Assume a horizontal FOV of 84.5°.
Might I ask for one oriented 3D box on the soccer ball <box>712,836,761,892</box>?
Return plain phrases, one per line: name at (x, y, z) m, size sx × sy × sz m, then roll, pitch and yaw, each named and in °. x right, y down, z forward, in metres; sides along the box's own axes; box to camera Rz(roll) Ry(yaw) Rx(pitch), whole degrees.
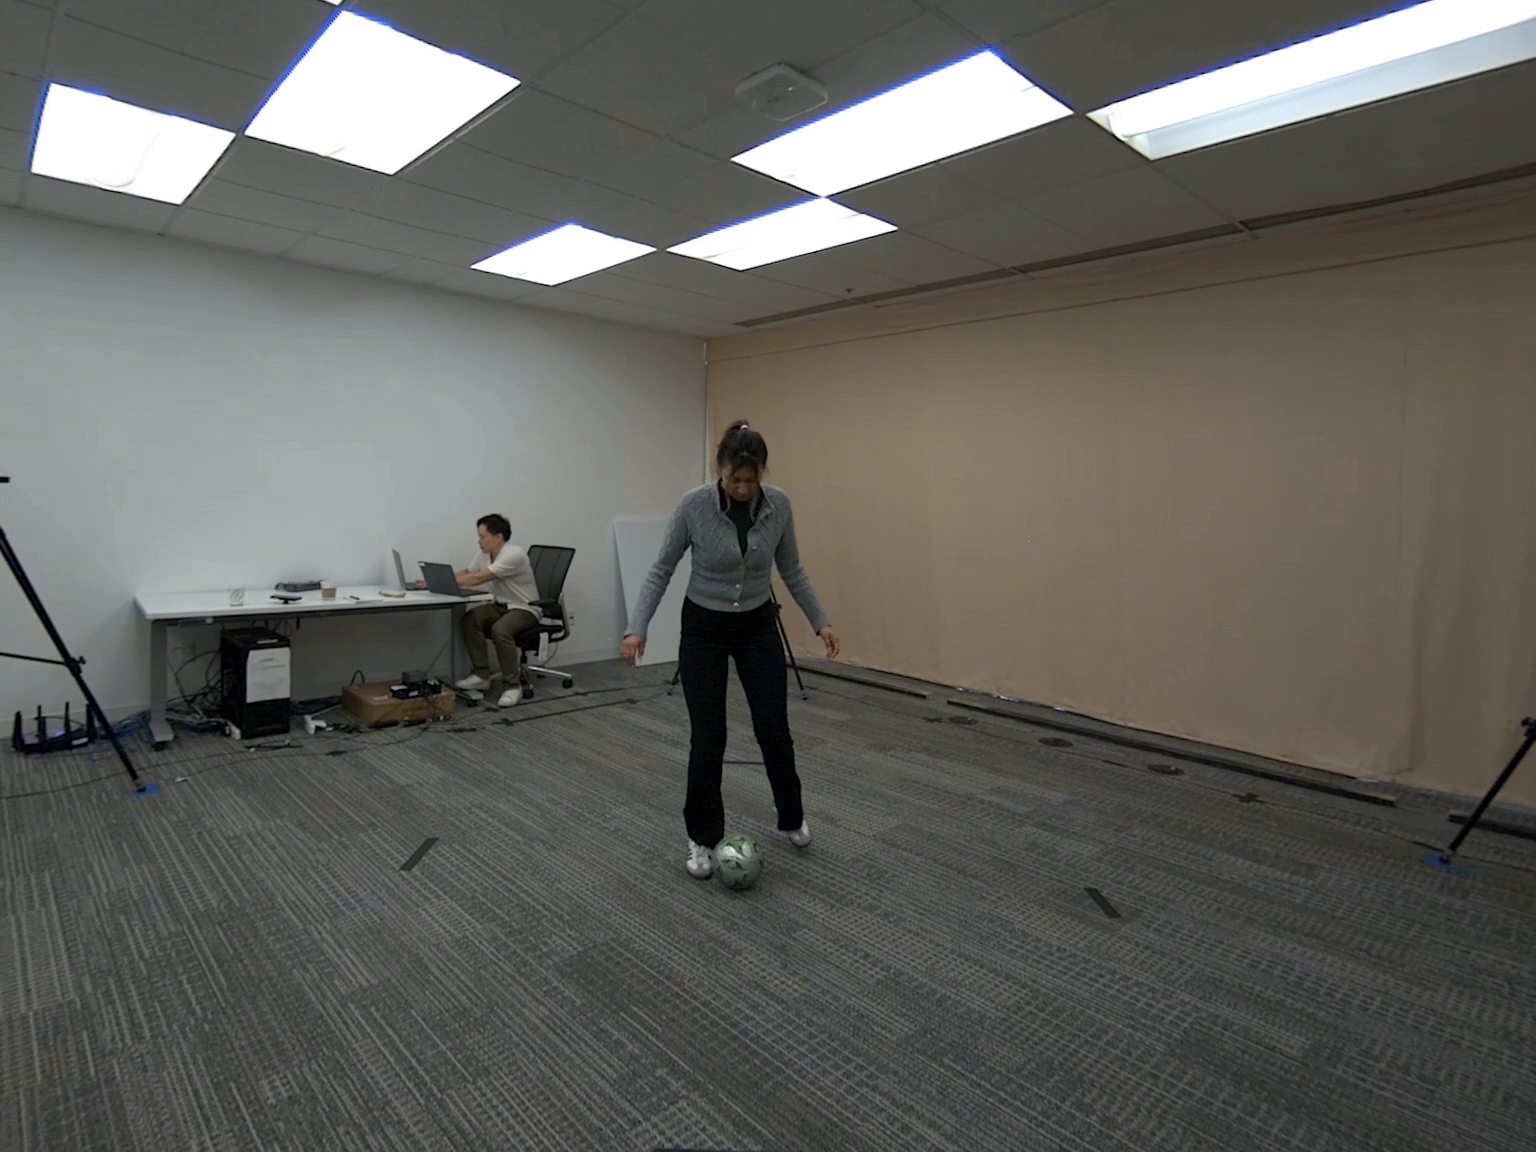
soccer ball at (-0.121, 1.020, 3.003) m, size 0.187 × 0.187 × 0.188 m, roll 1°, pitch 4°, yaw -1°
